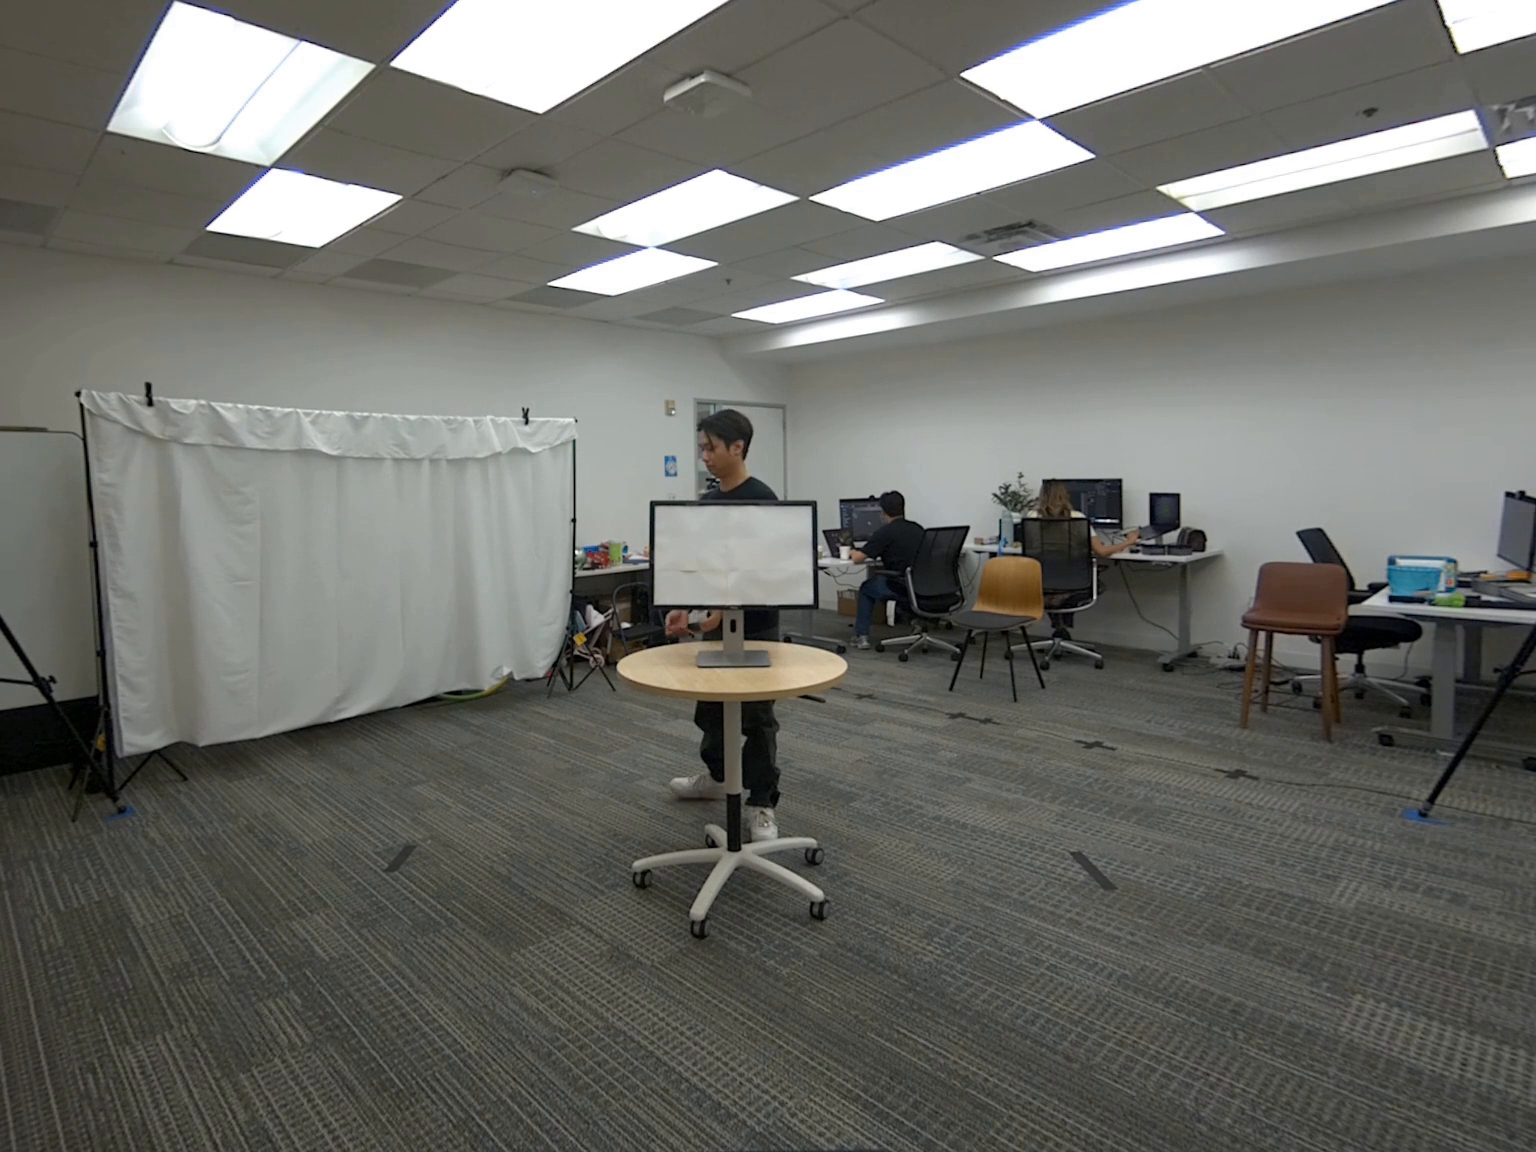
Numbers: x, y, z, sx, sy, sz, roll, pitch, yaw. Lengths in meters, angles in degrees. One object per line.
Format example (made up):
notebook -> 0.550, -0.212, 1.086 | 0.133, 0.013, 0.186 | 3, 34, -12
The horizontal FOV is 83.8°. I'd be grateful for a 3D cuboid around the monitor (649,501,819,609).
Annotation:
monitor -> -0.127, 0.031, 2.881 | 0.538, 0.520, 0.188 | -3, 4, -2
